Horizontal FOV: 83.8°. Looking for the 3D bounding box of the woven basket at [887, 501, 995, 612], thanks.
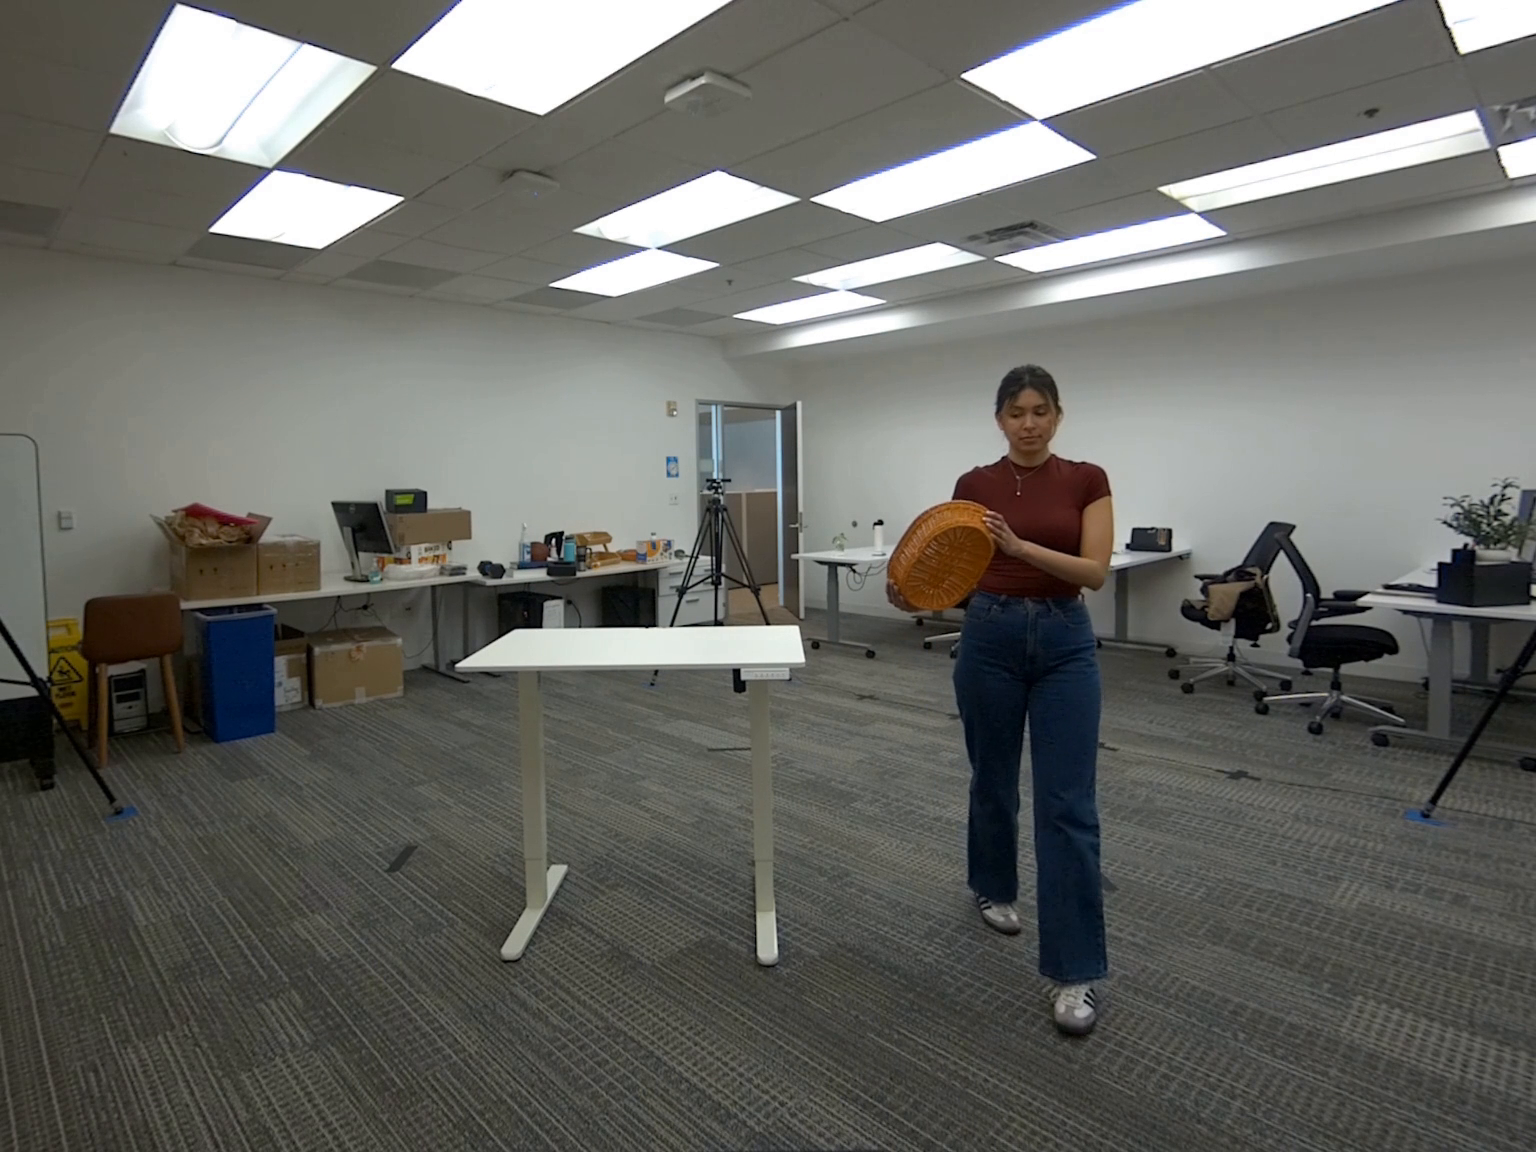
[{"bbox_3d":[0.481,-0.038,2.226,0.250,0.344,0.075,11,35,-7],"label":"woven basket"}]
